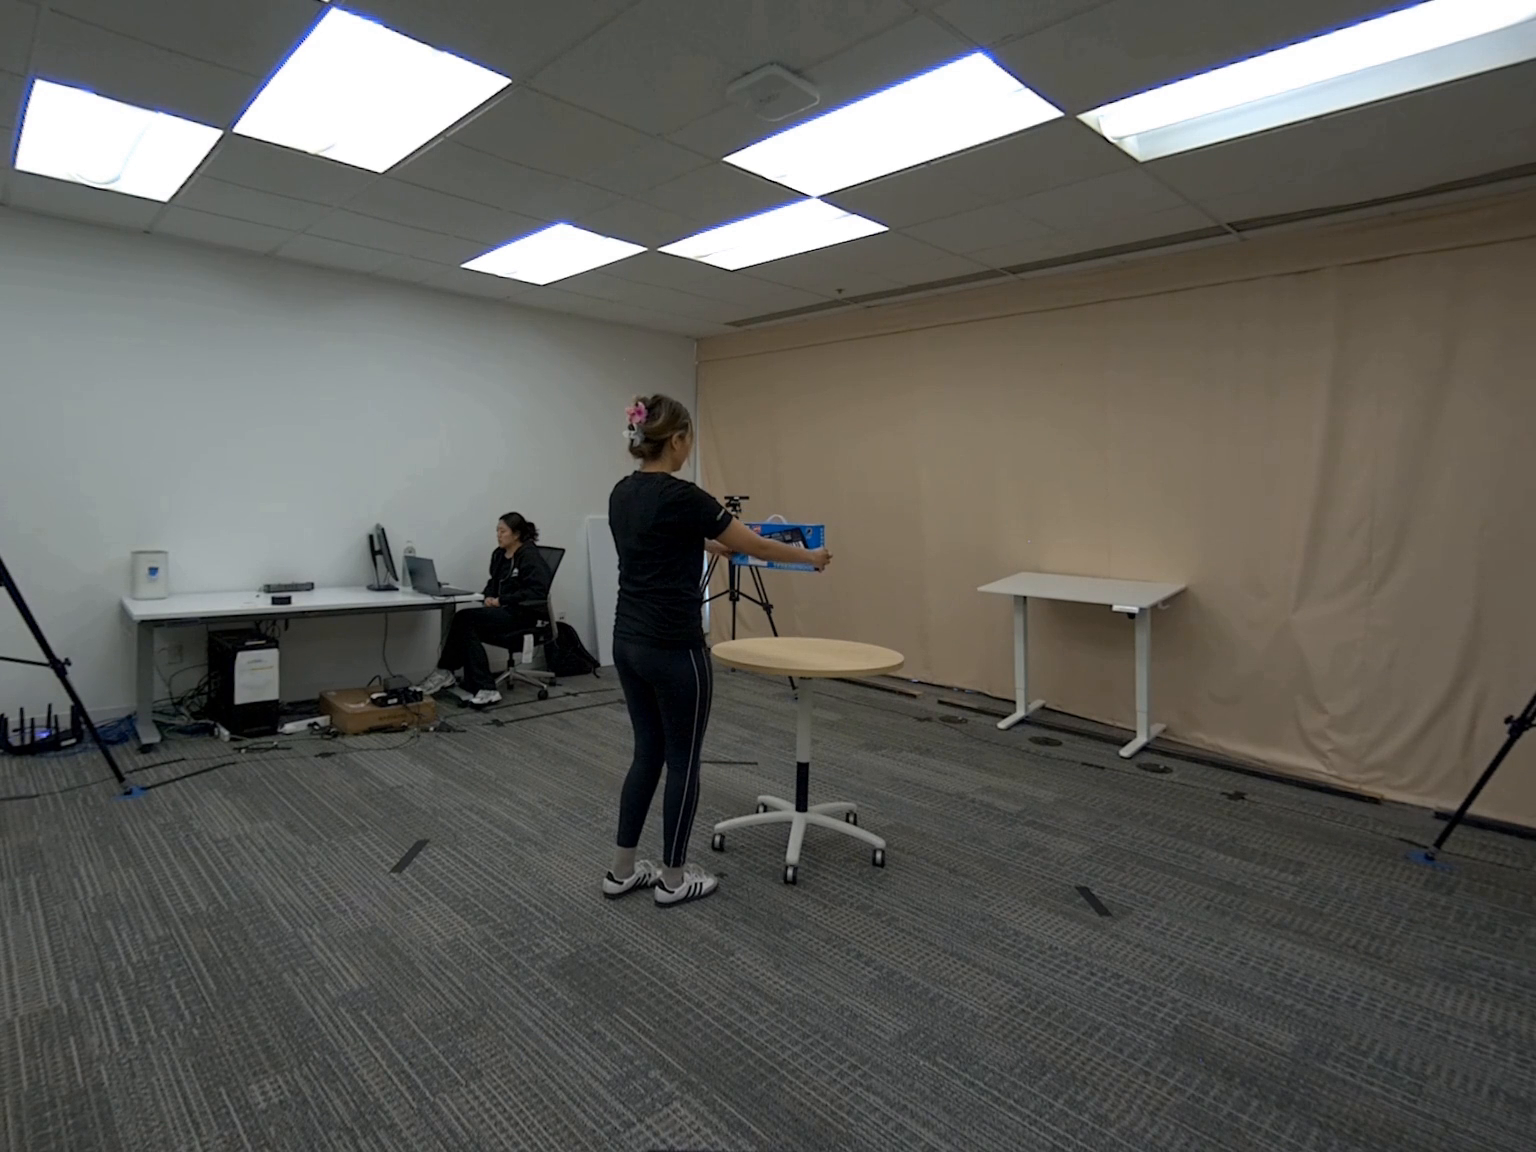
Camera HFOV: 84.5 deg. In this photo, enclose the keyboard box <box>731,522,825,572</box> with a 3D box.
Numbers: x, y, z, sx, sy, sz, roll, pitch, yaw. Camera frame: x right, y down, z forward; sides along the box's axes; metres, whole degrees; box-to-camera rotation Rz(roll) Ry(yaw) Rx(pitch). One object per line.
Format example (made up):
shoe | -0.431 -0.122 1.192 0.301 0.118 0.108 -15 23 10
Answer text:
keyboard box | 0.026 -0.113 3.246 0.448 0.175 0.058 5 6 45
